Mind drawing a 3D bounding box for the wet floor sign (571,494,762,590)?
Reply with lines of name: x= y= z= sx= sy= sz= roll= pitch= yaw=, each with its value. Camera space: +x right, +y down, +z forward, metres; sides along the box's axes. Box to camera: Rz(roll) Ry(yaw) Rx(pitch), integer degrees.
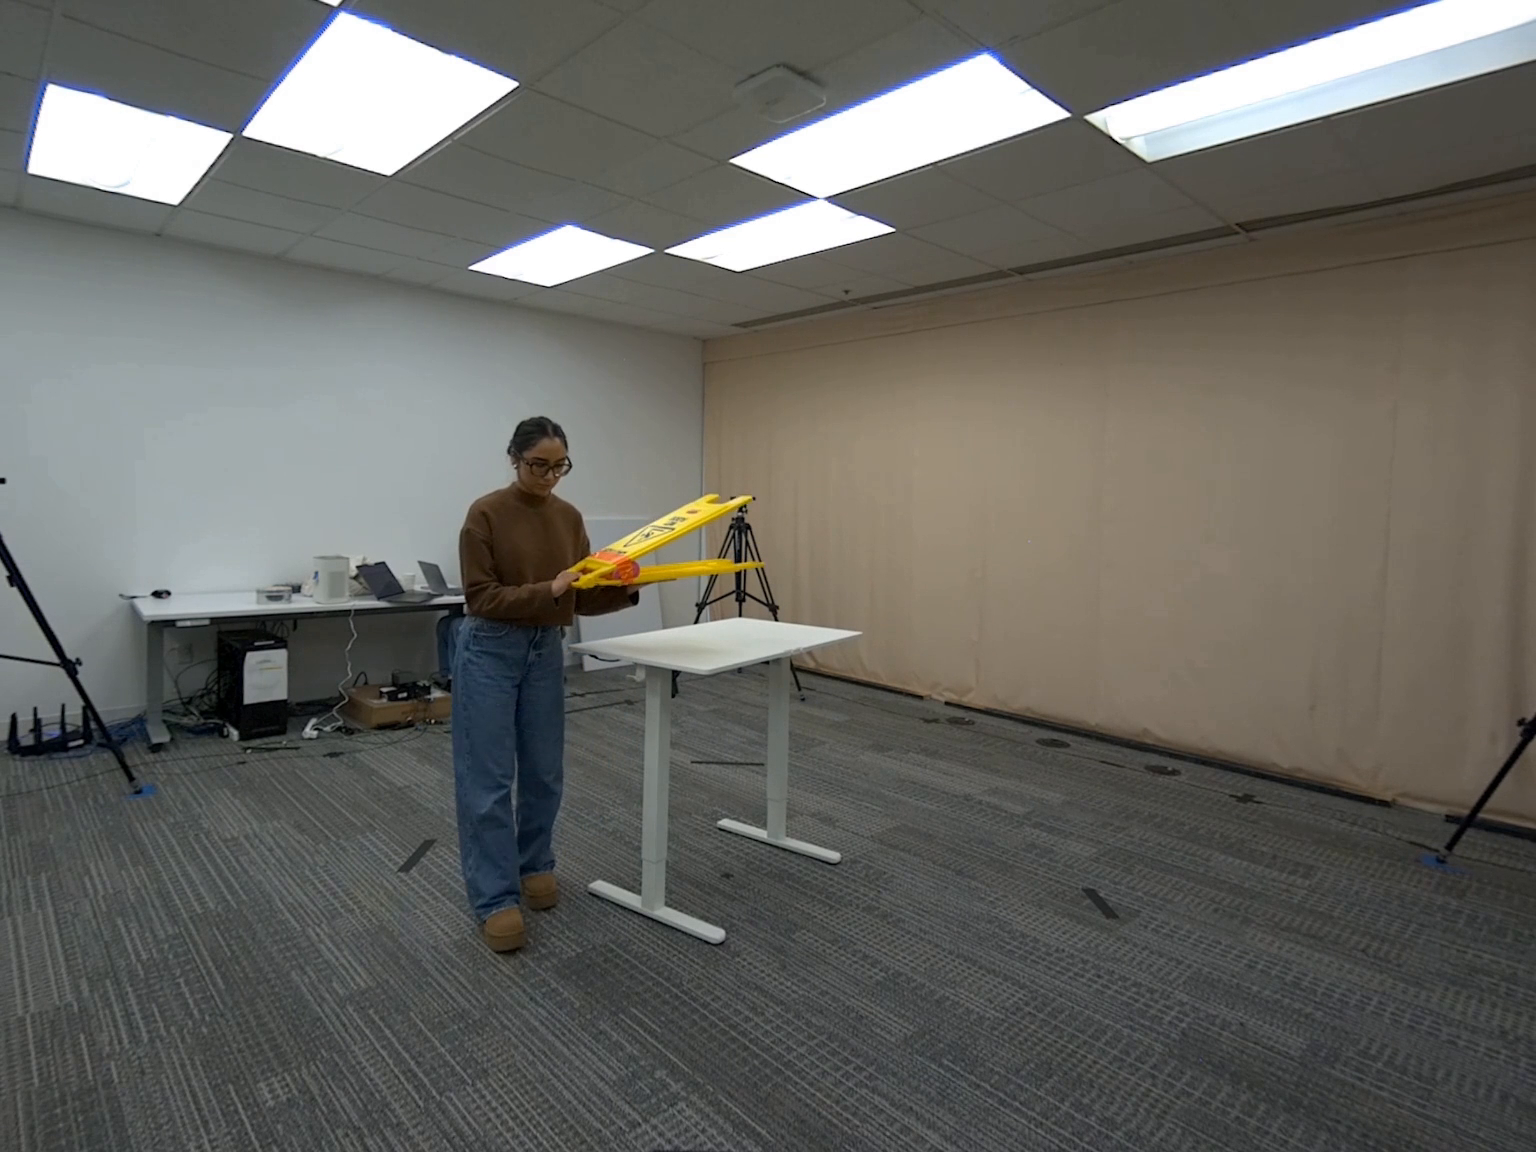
wet floor sign: x=-0.372 y=-0.067 z=2.750 sx=0.636 sy=0.287 sz=0.289 roll=-17 pitch=15 yaw=-35
